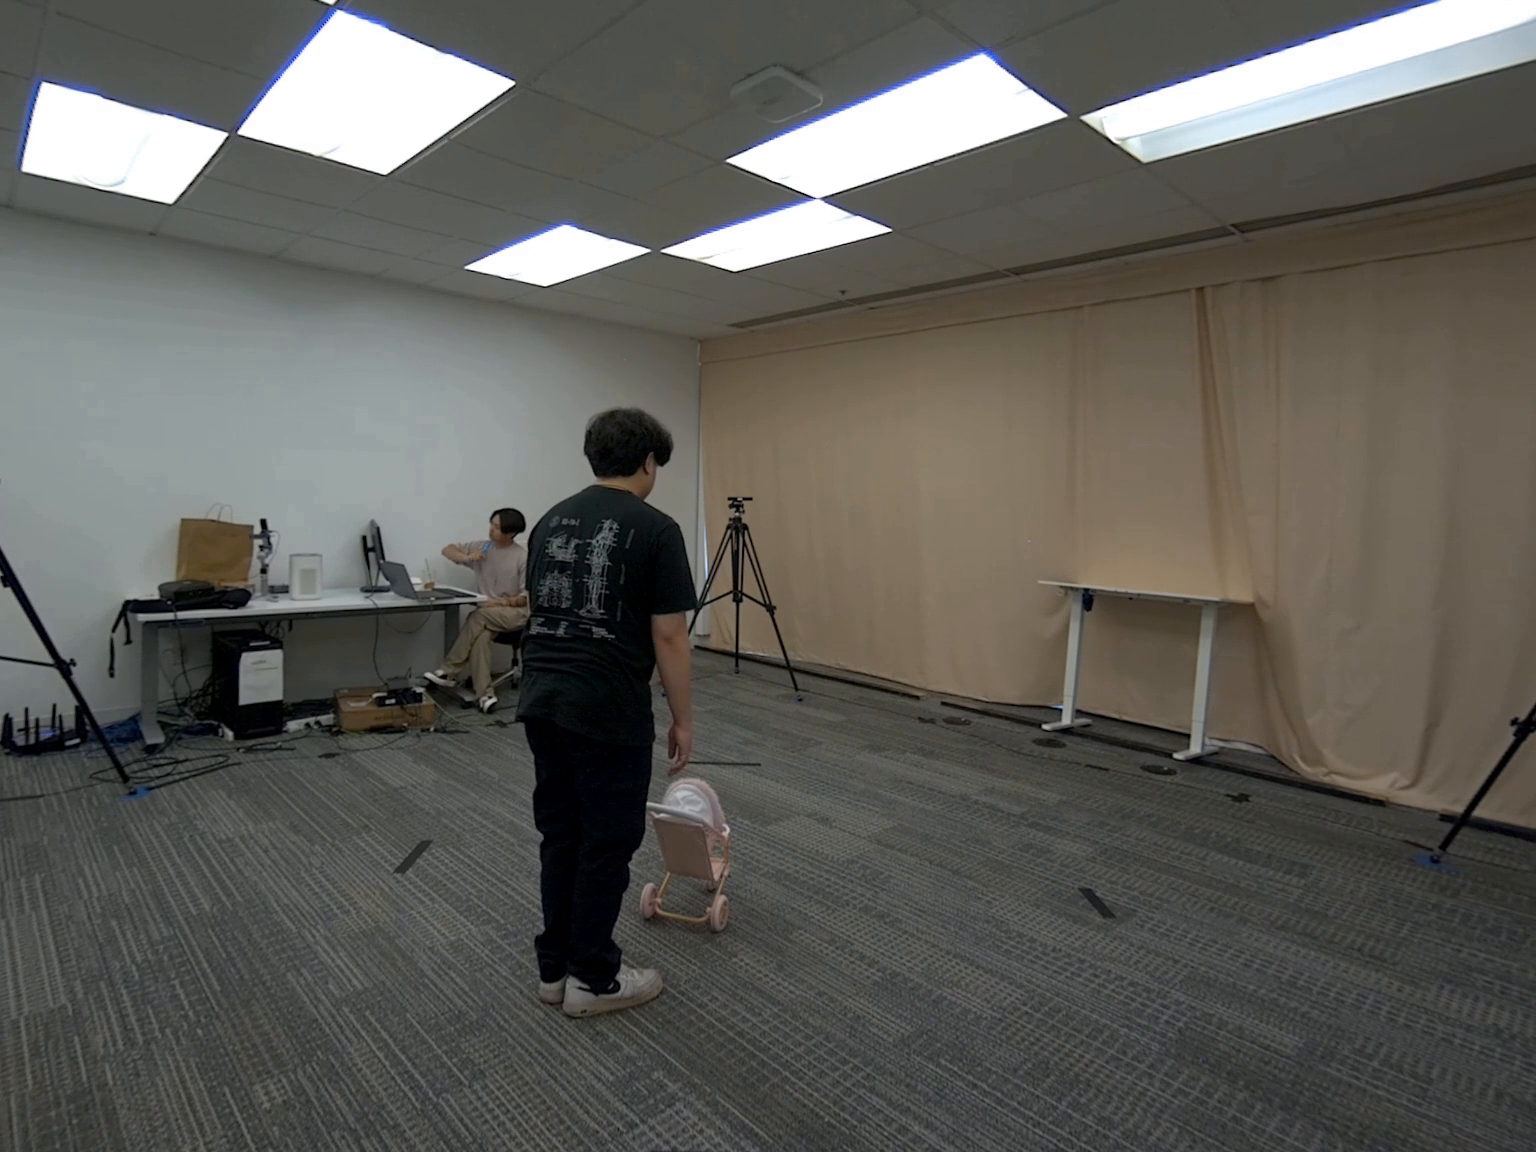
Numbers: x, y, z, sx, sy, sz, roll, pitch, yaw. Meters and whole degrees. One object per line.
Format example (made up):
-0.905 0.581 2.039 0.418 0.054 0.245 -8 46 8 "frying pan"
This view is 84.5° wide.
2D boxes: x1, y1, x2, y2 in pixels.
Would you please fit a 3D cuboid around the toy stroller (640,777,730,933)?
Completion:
-0.254 0.908 2.802 0.286 0.528 0.340 3 19 21 "toy stroller"
